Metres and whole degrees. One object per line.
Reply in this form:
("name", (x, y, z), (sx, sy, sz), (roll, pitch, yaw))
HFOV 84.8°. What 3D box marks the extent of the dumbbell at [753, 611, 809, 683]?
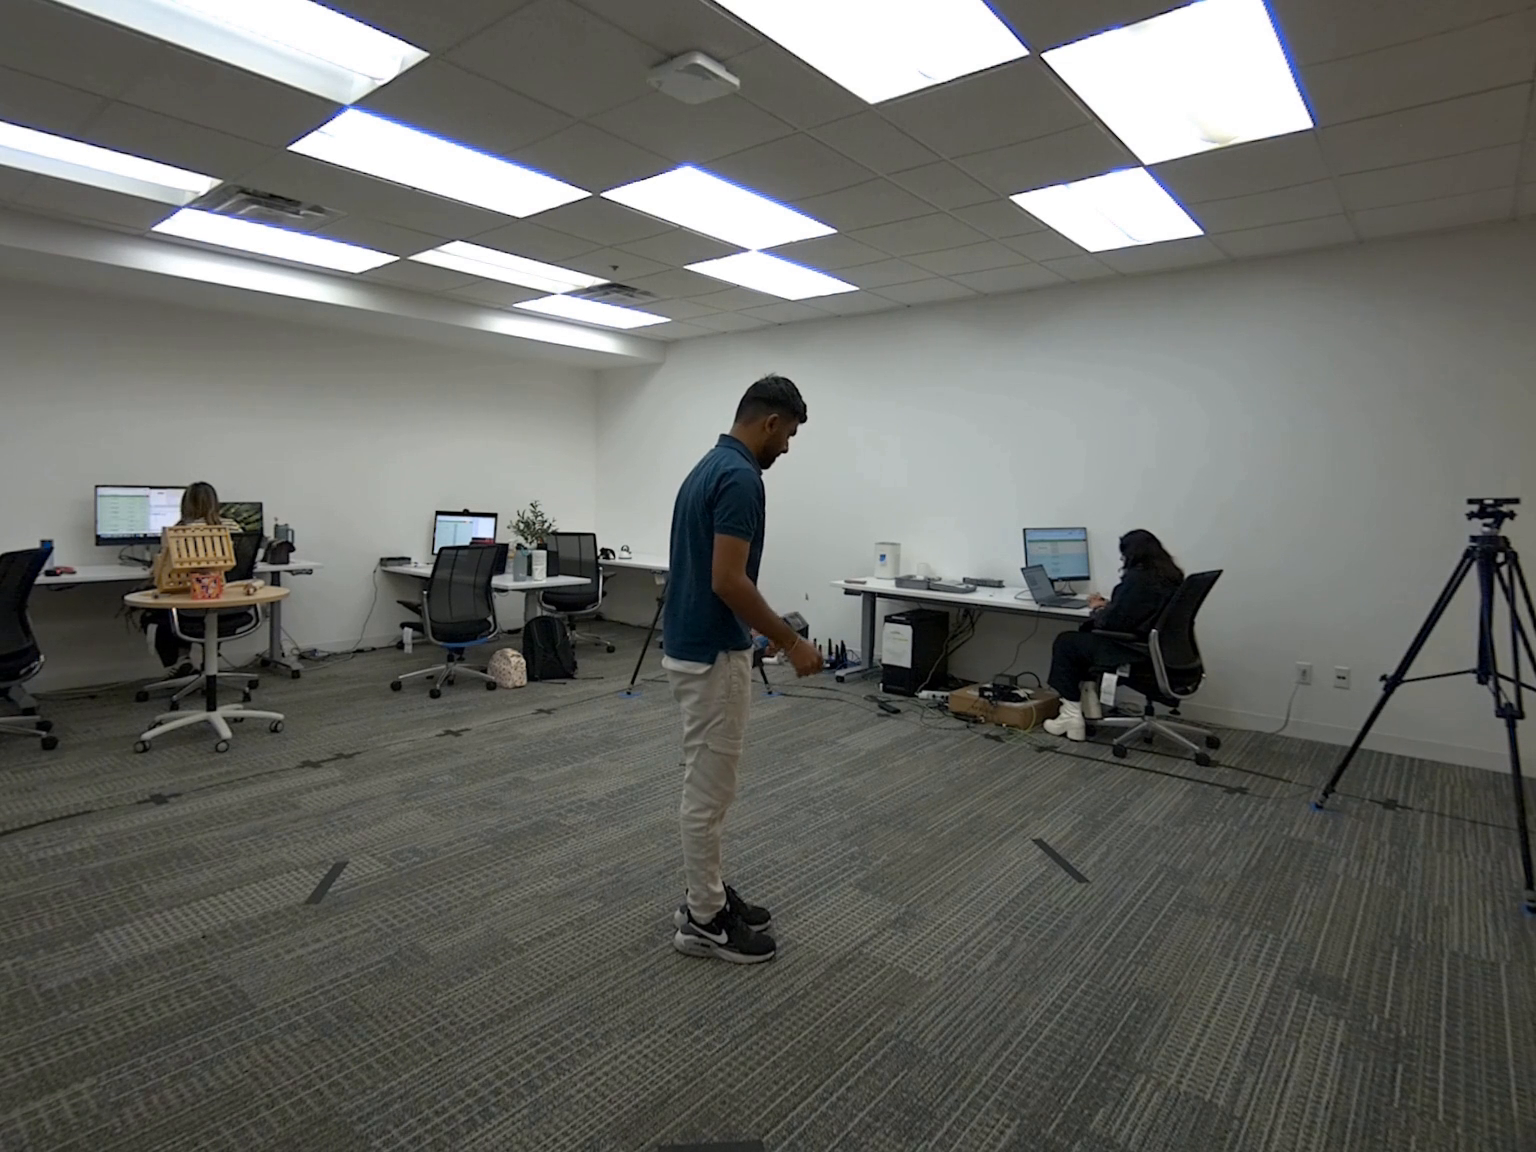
("dumbbell", (0.001, 0.212, 2.746), (0.288, 0.127, 0.107), (-23, -26, -37))
